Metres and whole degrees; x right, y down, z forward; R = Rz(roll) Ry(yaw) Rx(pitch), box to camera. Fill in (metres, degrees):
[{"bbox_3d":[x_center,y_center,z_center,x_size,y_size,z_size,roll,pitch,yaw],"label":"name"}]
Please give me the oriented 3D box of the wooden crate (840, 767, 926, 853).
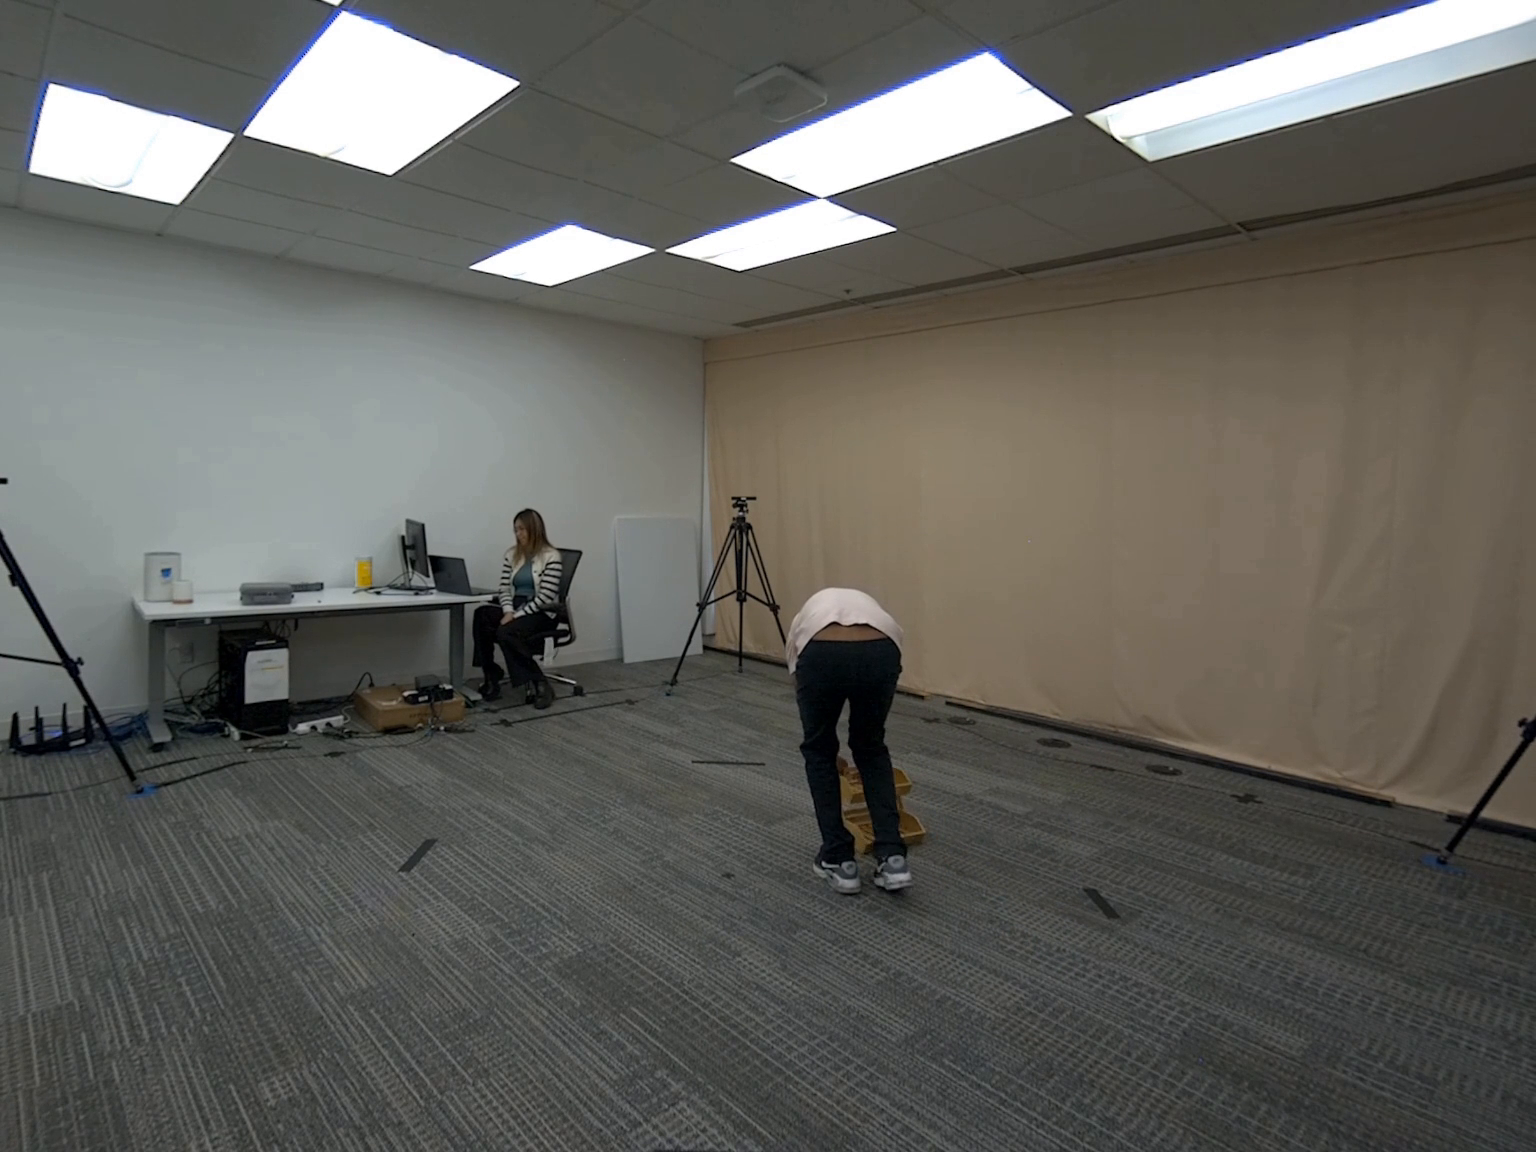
[{"bbox_3d":[0.436,0.952,3.492,0.318,0.273,0.308,0,3,-29],"label":"wooden crate"}]
